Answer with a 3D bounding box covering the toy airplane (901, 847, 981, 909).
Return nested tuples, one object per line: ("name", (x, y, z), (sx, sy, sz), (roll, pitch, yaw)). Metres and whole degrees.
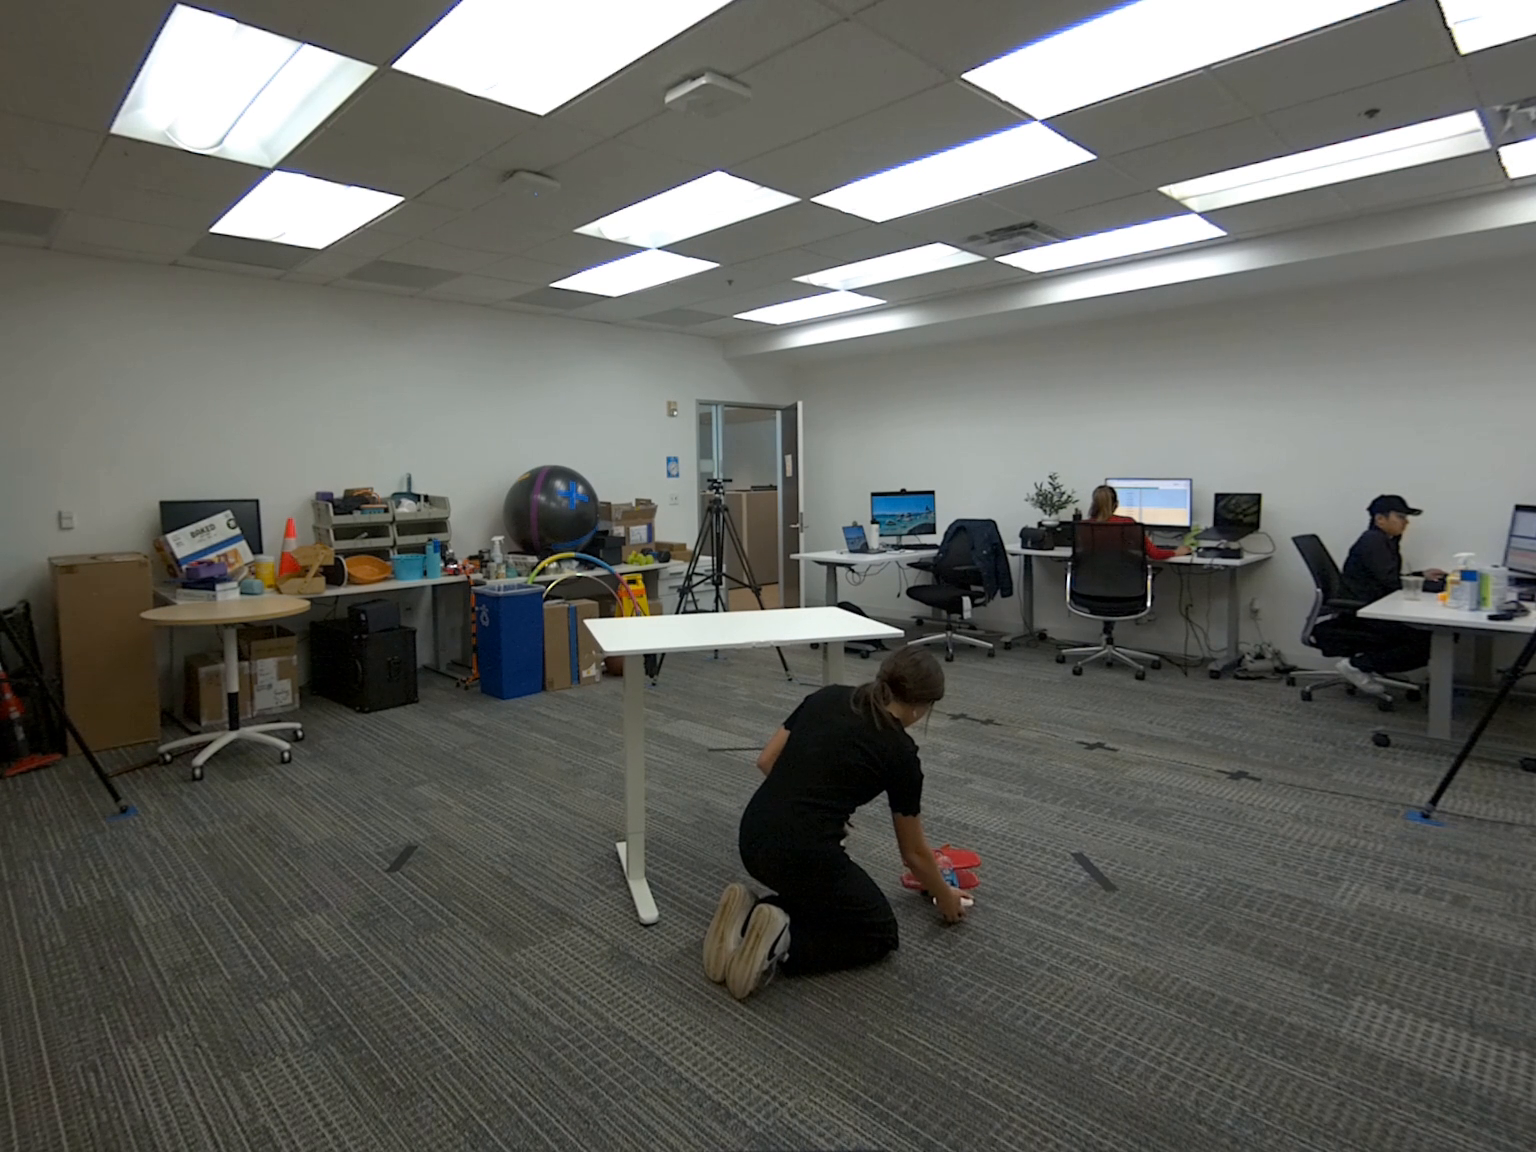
("toy airplane", (0.593, 0.993, 2.775), (0.245, 0.156, 0.266), (-2, 2, -31))
